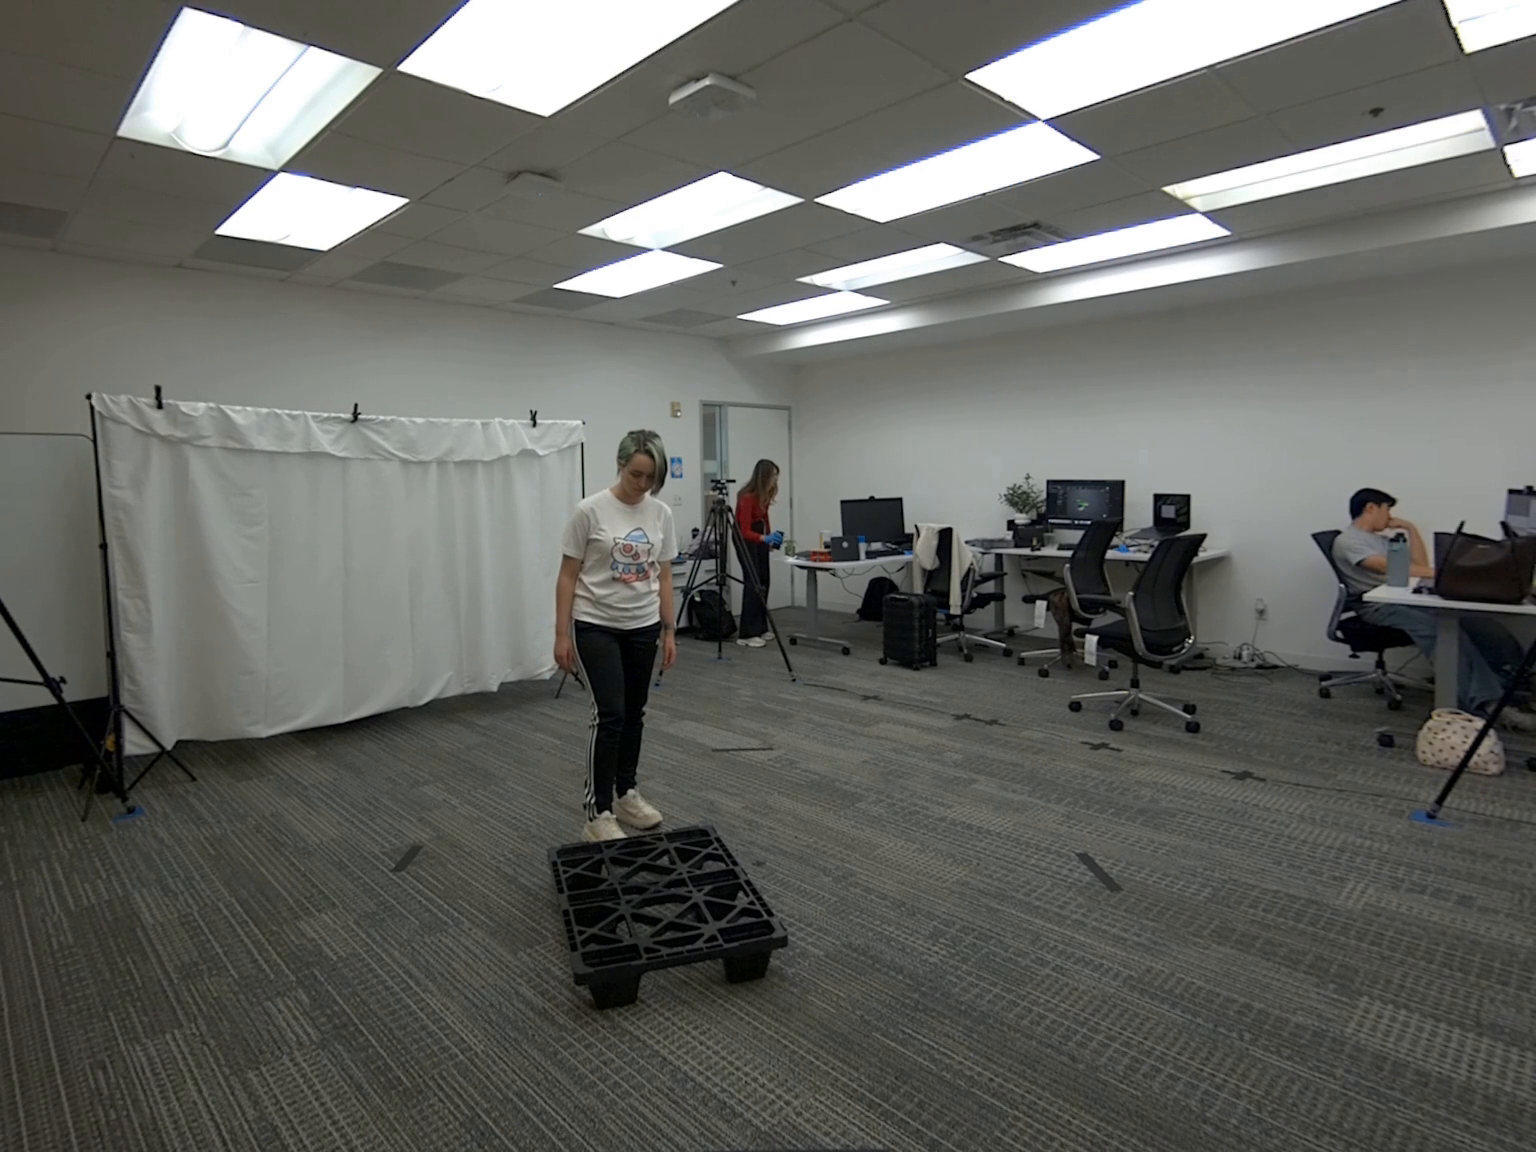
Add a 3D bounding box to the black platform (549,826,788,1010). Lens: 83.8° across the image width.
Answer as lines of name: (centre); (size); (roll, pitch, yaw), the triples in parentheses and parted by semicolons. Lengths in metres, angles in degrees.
black platform: (-0.350, 1.035, 2.676); (0.596, 0.142, 0.822); (-4, 7, -18)
